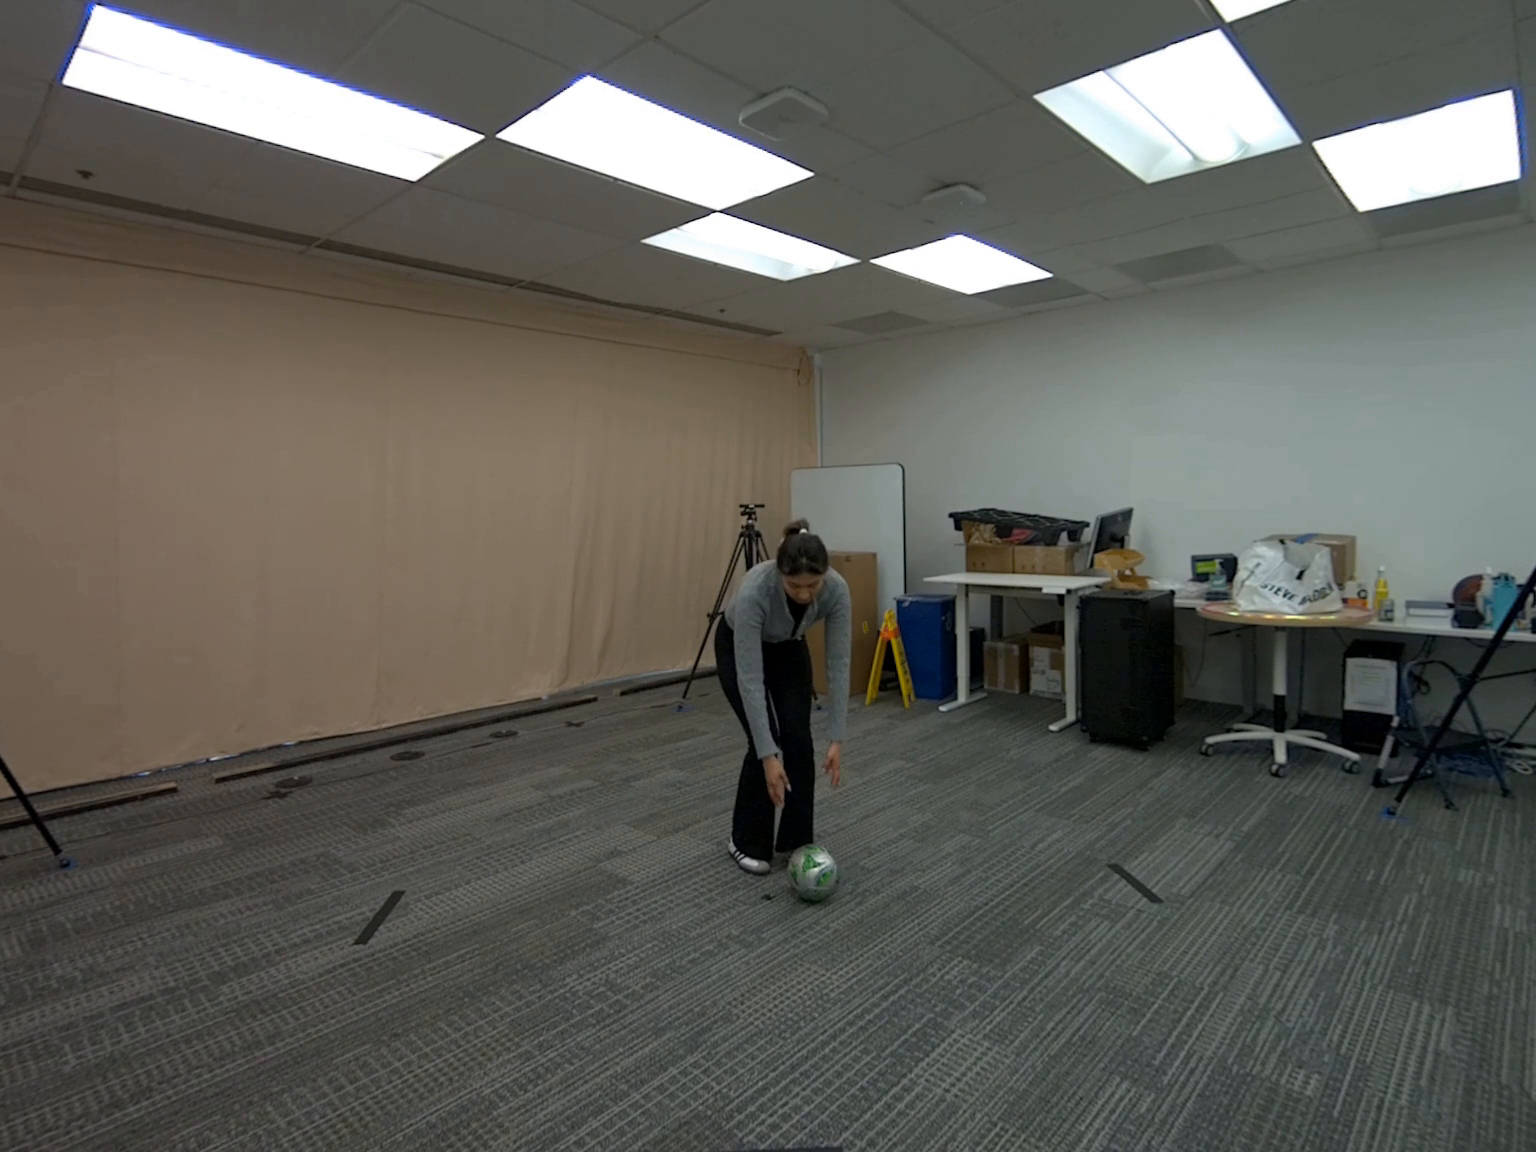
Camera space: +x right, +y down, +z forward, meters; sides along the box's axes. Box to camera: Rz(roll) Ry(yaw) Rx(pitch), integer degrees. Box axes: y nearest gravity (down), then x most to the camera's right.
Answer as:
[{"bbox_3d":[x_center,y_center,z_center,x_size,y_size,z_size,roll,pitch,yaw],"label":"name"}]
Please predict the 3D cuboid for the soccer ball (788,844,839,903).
[{"bbox_3d":[0.157,1.037,2.969,0.187,0.187,0.188,-1,4,-2],"label":"soccer ball"}]
